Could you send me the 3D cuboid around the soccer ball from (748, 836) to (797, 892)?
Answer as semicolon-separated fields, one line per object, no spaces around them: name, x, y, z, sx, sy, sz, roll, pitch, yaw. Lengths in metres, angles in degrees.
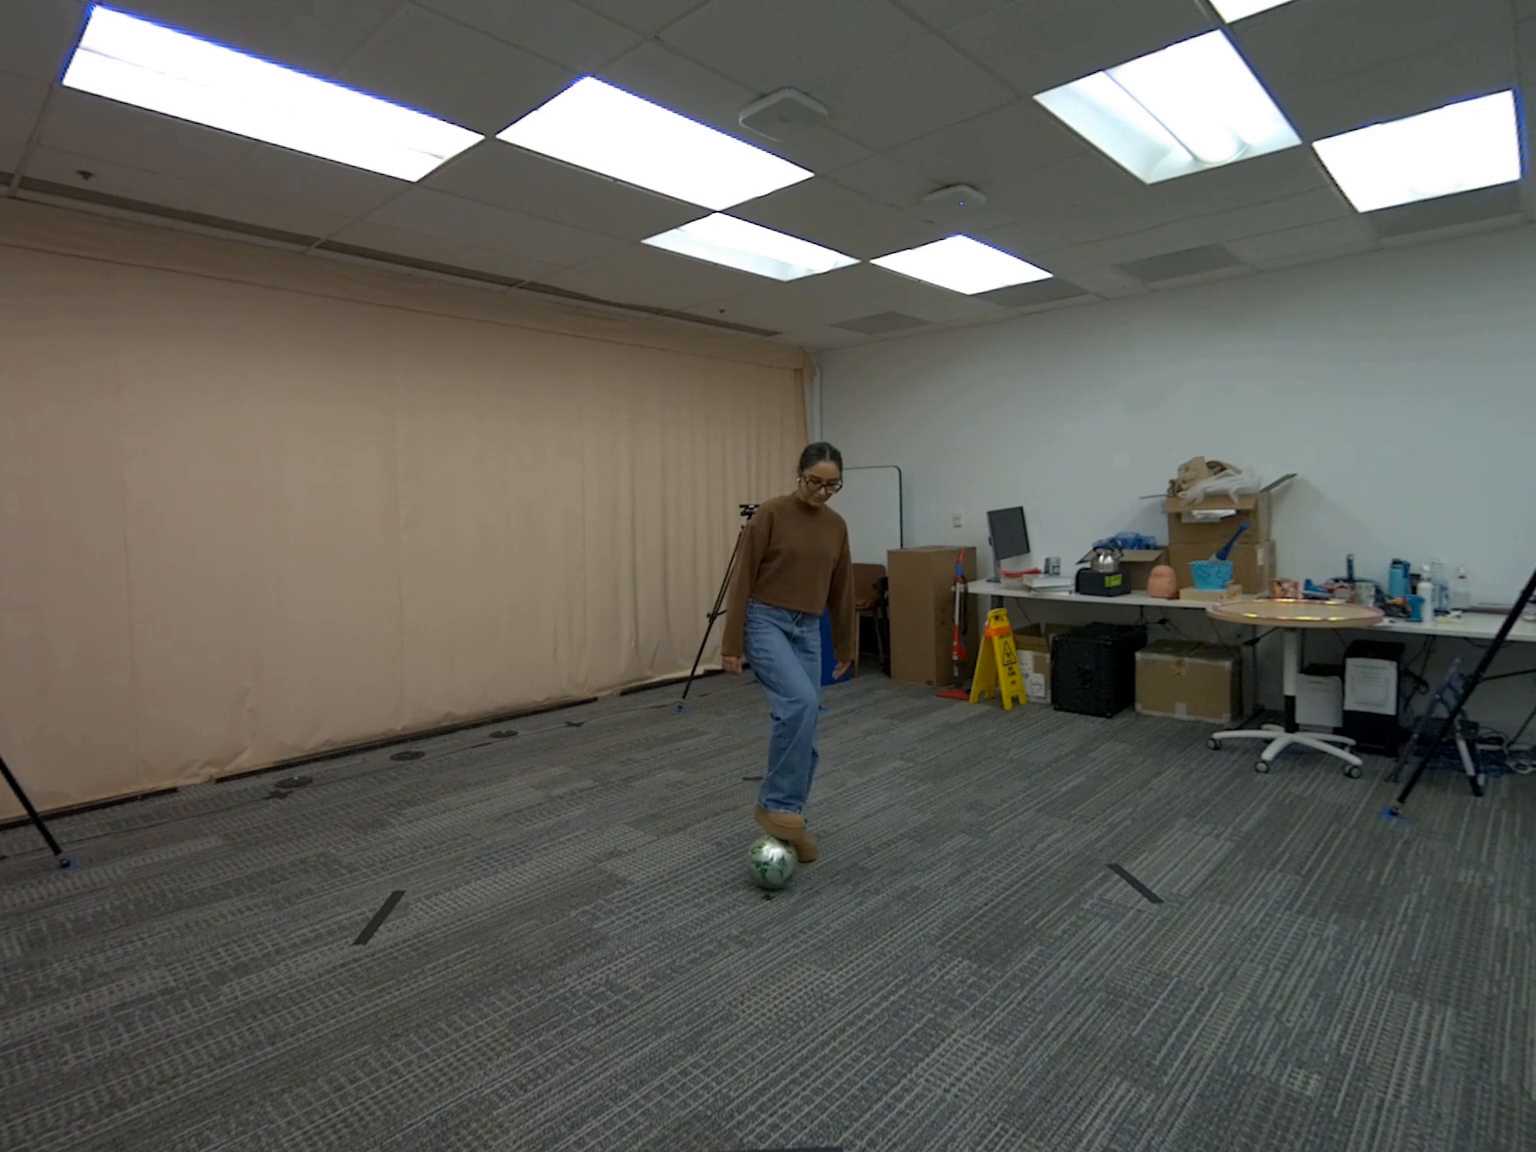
soccer ball;0.012;1.035;3.059;0.187;0.187;0.188;-1;4;-2
